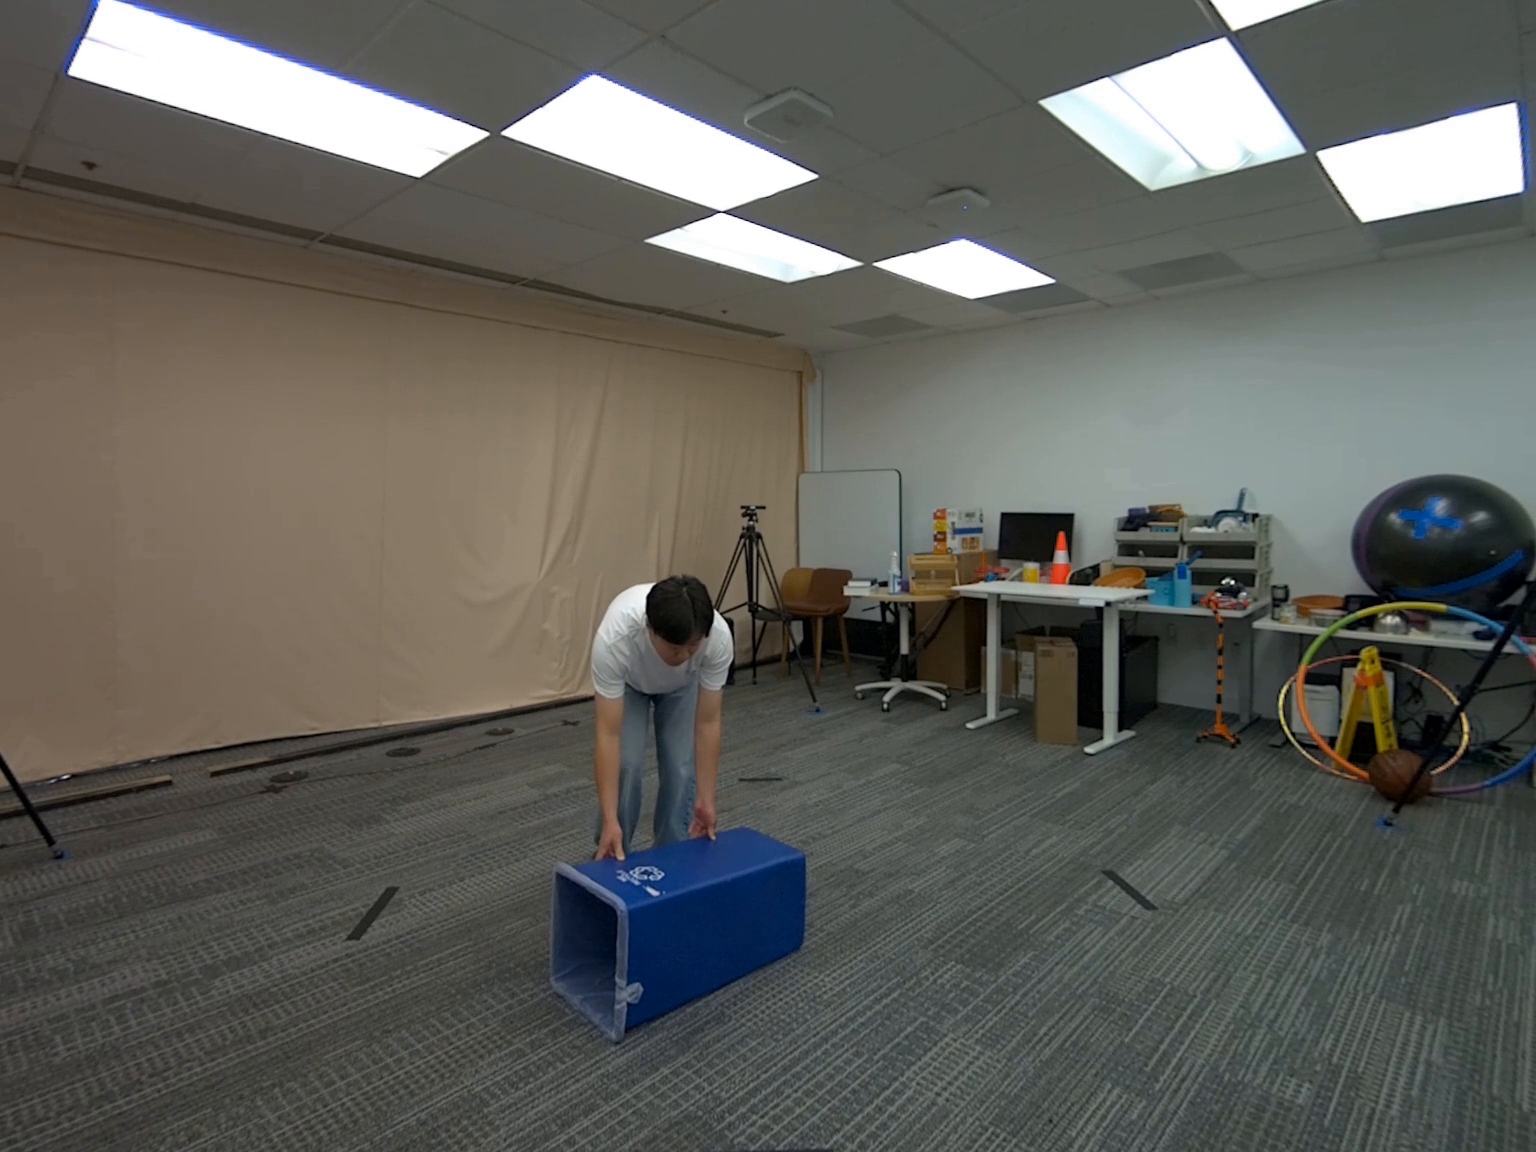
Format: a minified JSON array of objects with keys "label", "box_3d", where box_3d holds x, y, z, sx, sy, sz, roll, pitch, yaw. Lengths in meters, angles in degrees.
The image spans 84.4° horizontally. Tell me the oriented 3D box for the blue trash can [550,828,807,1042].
[{"label":"blue trash can","box_3d":[-0.243,1.018,2.528,0.691,0.378,0.386,0,3,-42]}]
